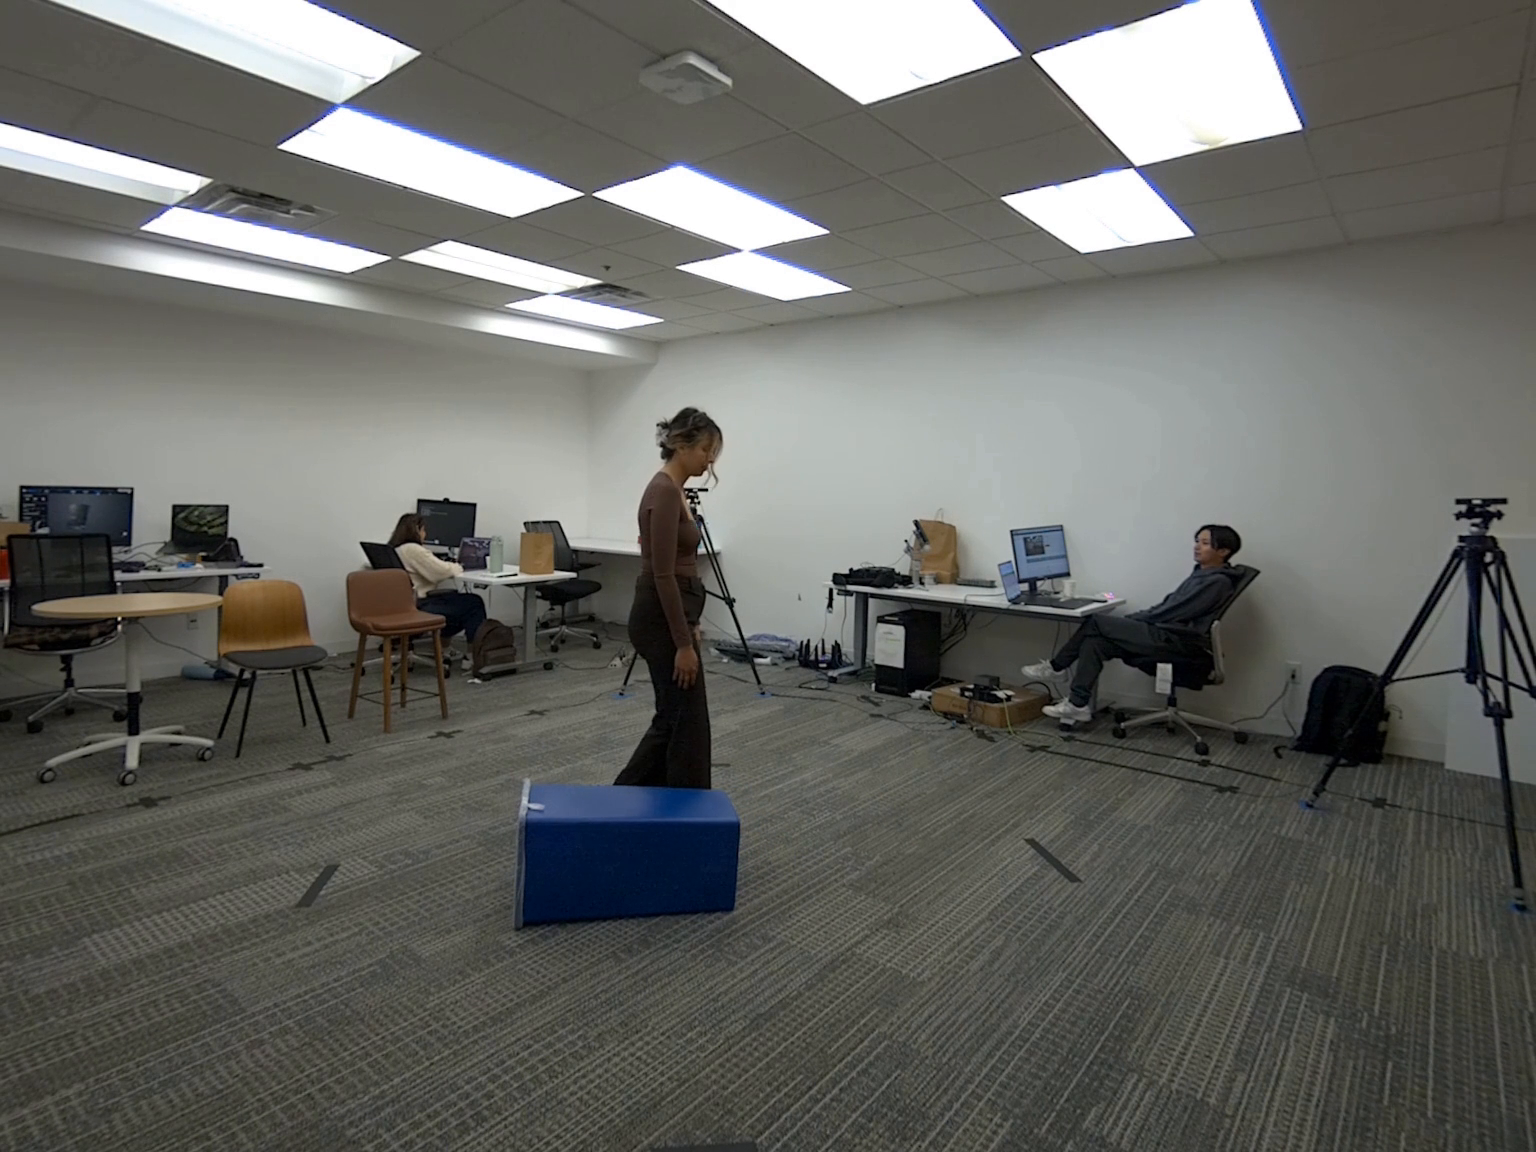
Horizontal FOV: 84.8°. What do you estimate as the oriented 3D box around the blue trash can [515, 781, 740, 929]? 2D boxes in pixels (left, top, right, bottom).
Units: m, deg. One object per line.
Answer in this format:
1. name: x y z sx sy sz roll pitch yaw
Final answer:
1. blue trash can: -0.493 0.922 2.882 0.704 0.377 0.380 3 3 -12
